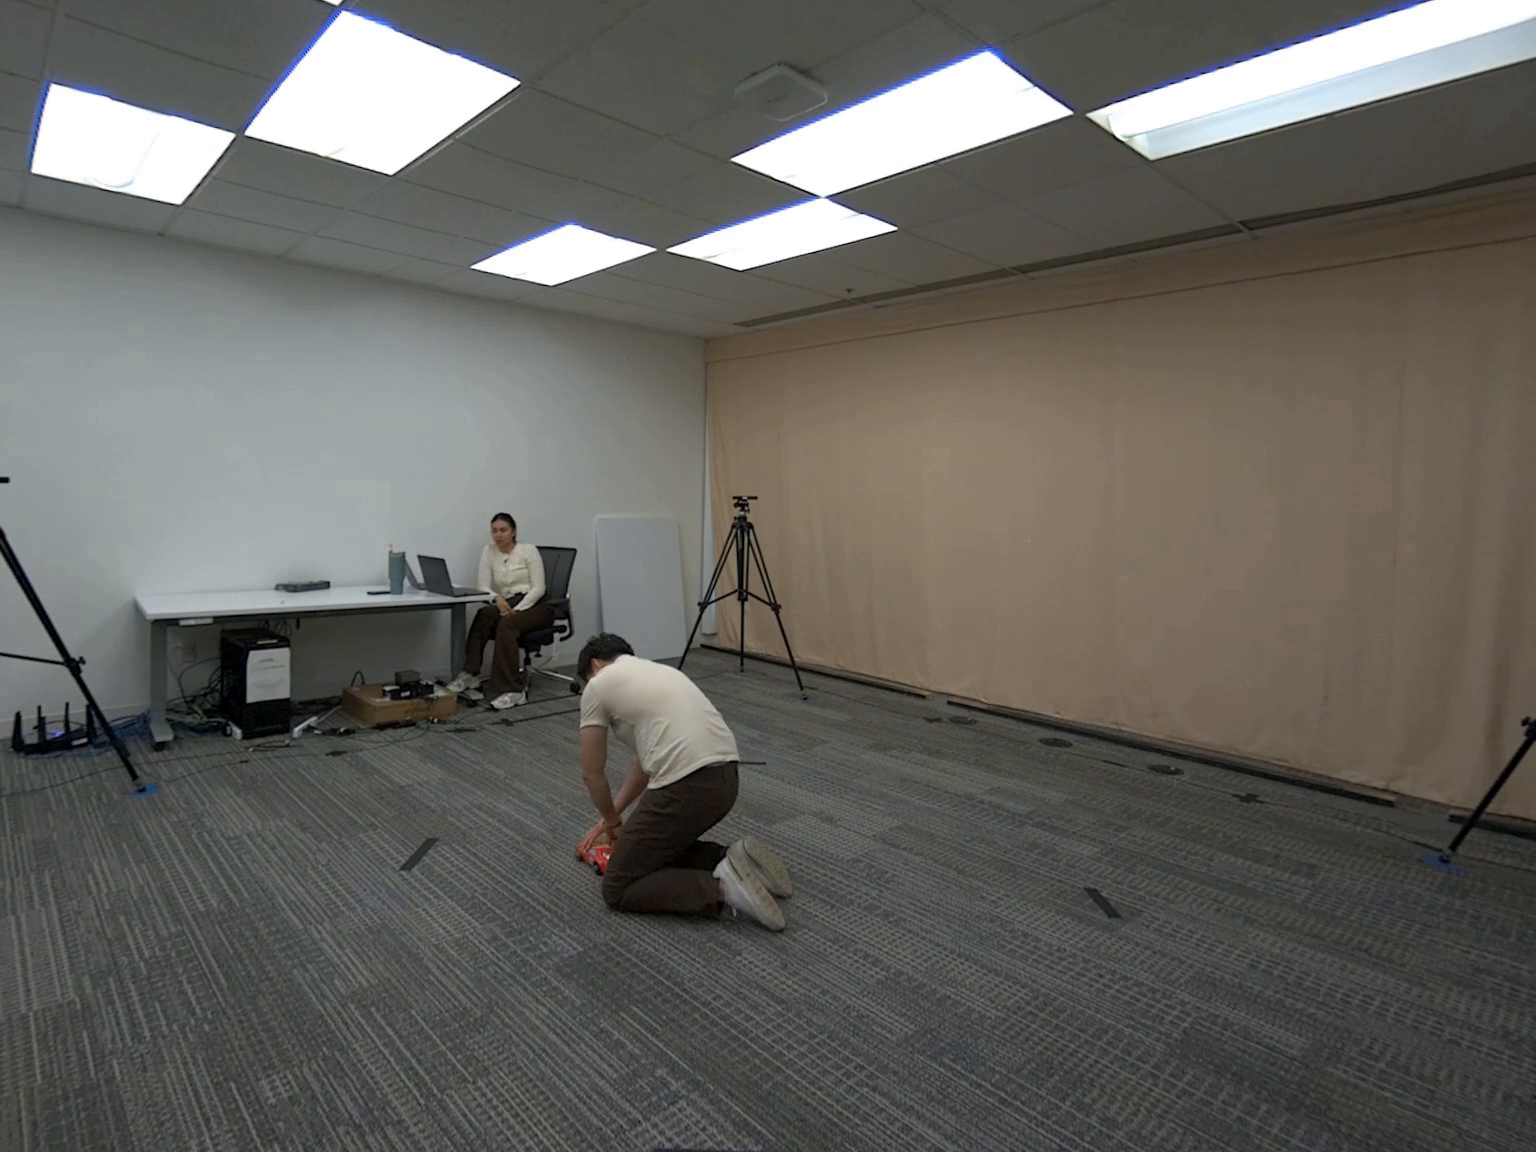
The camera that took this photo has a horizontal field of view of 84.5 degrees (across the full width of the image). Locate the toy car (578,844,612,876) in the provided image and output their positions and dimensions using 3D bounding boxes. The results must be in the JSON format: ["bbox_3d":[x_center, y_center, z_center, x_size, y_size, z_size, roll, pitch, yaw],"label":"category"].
[{"bbox_3d":[-0.630,1.055,3.157,0.127,0.083,0.259,-4,-4,-39],"label":"toy car"}]
